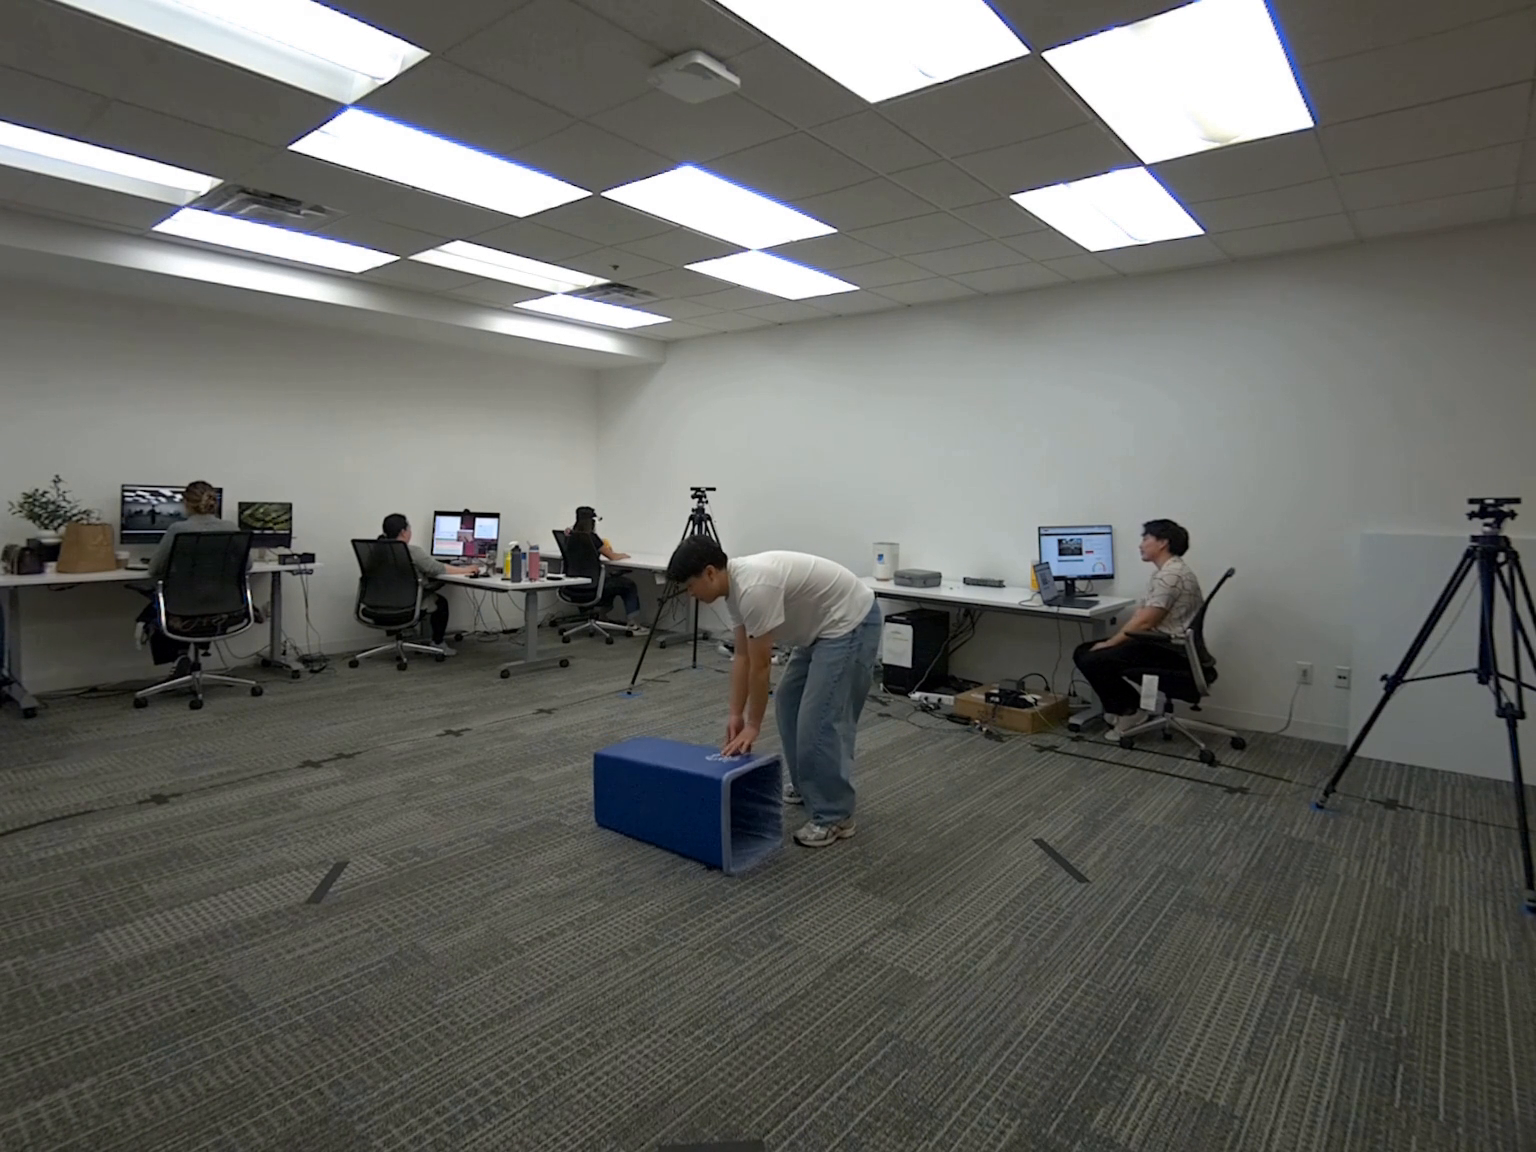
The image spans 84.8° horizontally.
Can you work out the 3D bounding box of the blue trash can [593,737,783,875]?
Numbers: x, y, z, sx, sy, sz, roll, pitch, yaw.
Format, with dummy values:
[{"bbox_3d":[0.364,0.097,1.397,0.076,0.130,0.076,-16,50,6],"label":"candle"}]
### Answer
[{"bbox_3d":[-0.348,0.867,3.389,0.736,0.377,0.364,1,4,35],"label":"blue trash can"}]
